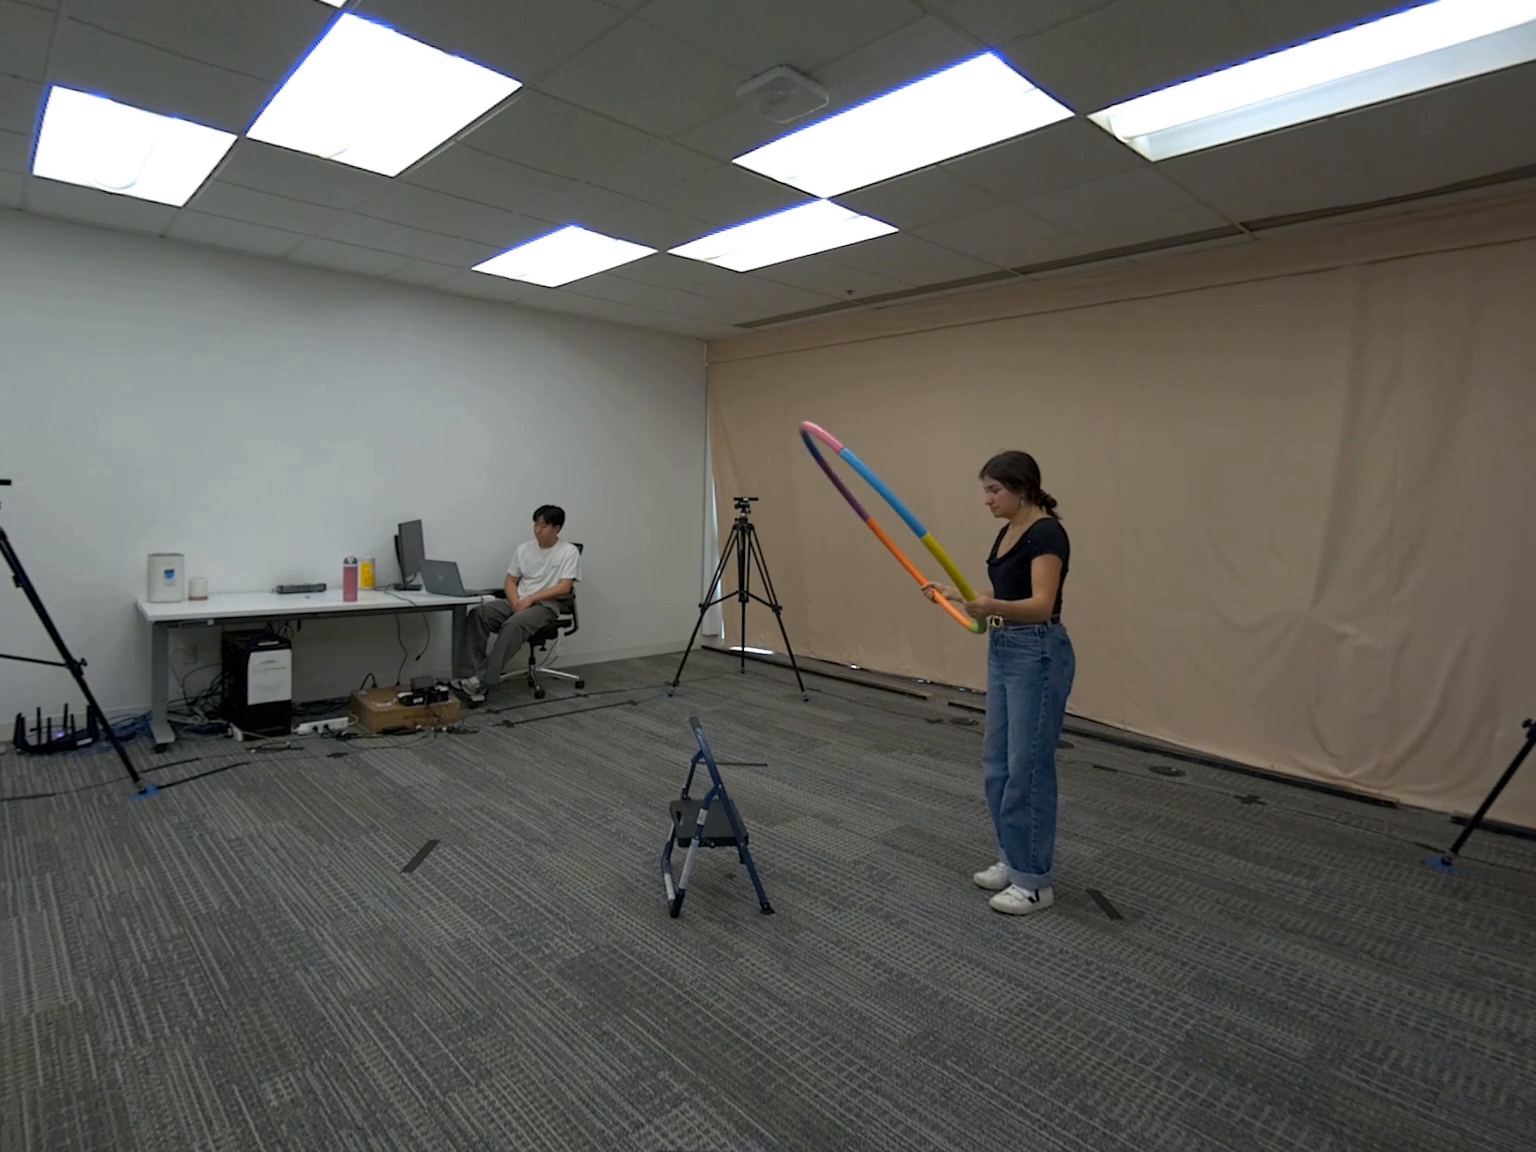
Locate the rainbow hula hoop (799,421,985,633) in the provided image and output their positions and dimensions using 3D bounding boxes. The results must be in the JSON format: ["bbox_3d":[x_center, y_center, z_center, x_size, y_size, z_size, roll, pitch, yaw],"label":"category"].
[{"bbox_3d":[0.435,-0.172,3.023,0.035,0.976,0.981,-41,3,2],"label":"rainbow hula hoop"}]
